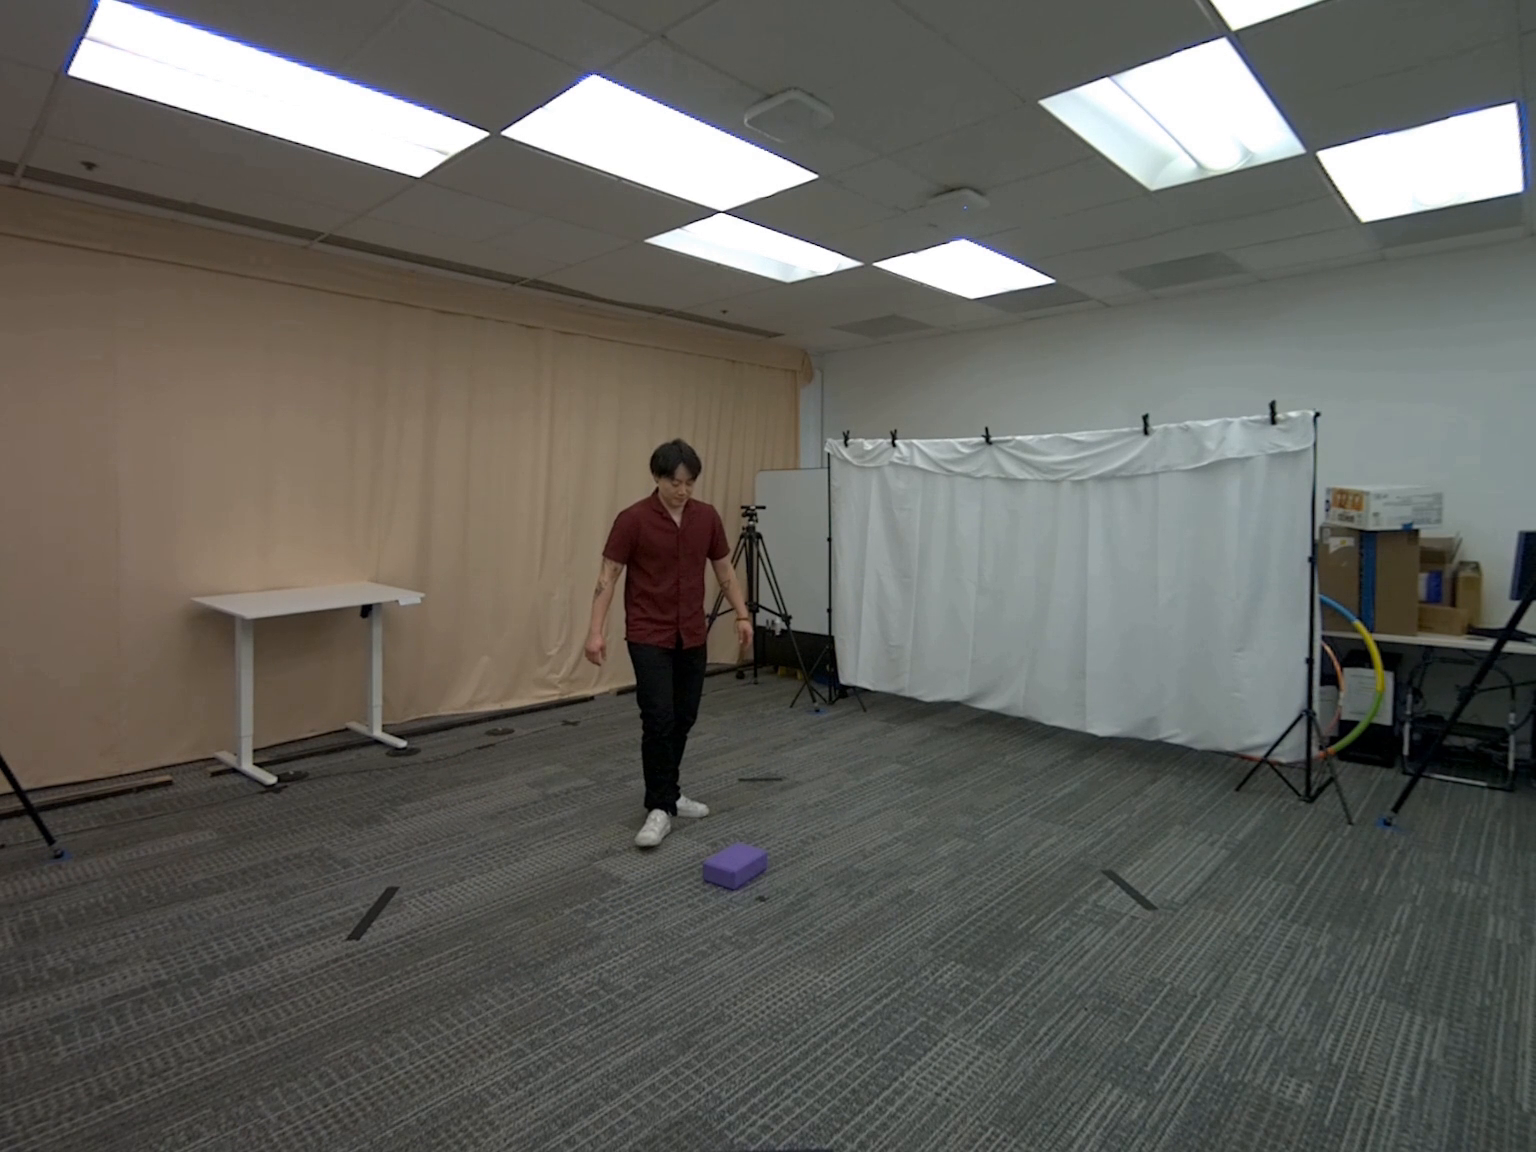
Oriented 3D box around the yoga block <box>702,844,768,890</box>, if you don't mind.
[{"bbox_3d":[-0.119,1.089,3.170,0.154,0.076,0.223,3,7,34],"label":"yoga block"}]
